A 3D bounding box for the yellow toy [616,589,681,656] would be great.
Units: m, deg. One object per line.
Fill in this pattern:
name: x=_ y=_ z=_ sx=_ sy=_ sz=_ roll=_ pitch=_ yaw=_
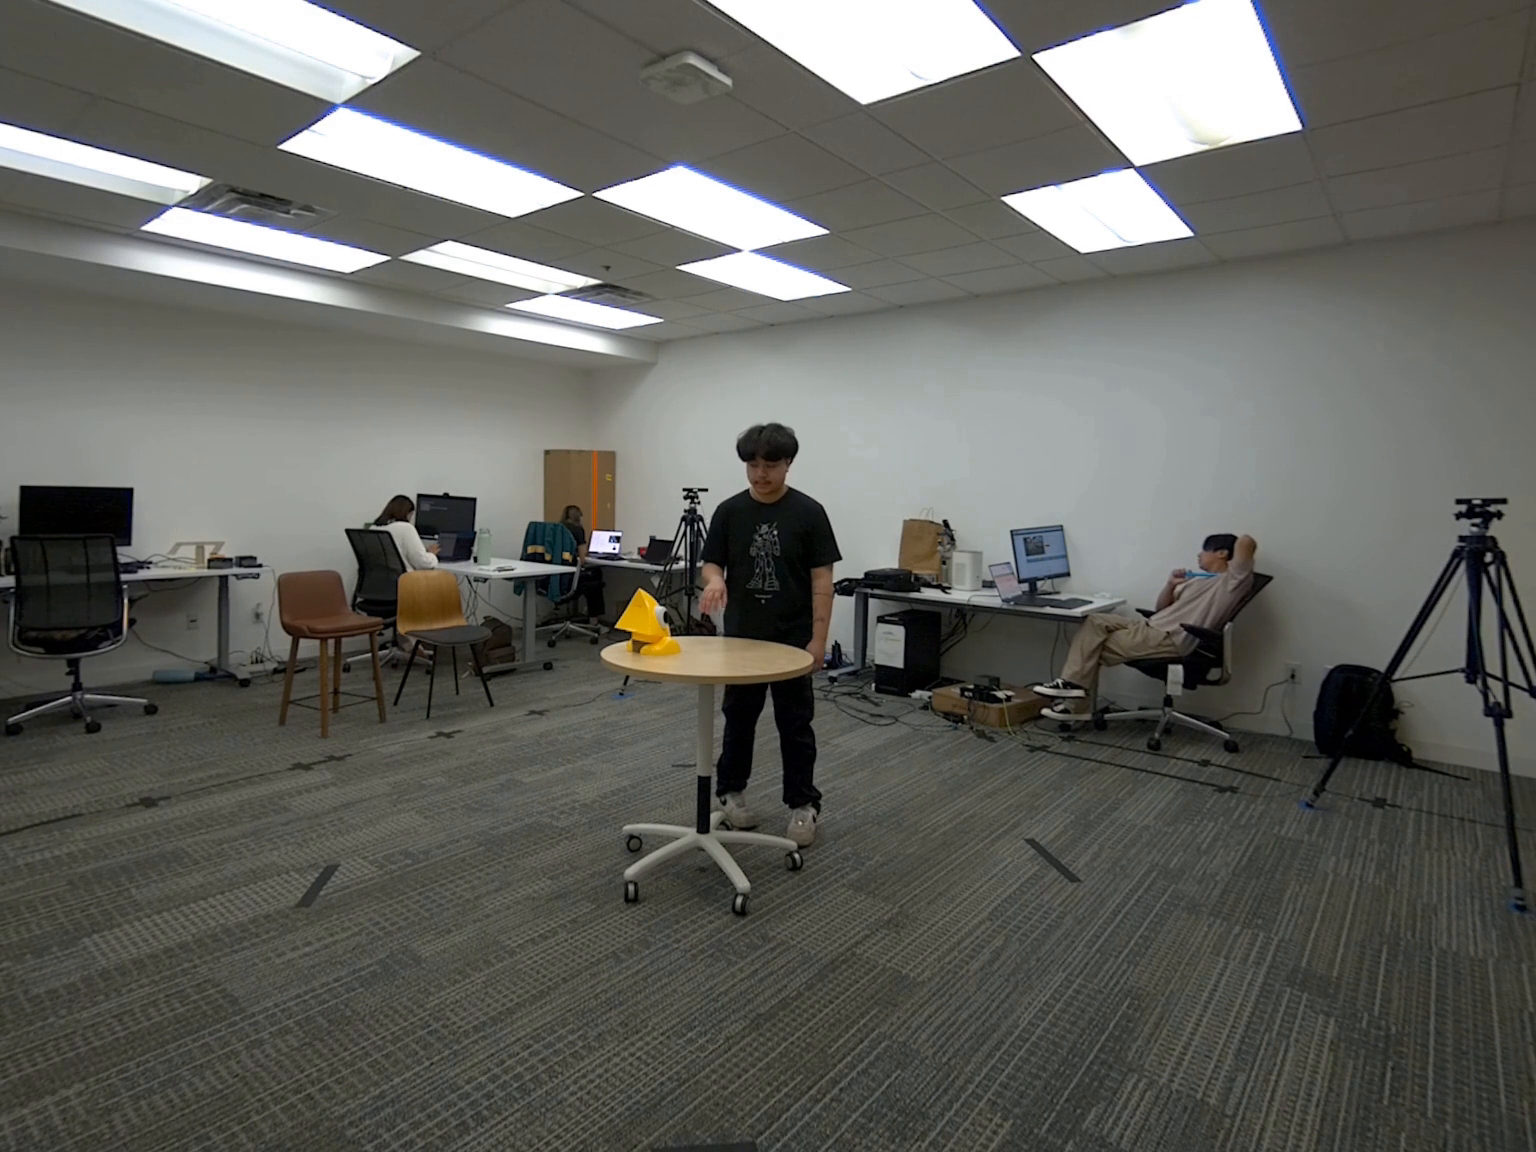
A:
yellow toy: x=-0.437 y=0.156 z=3.110 sx=0.187 sy=0.230 sz=0.212 roll=-2 pitch=5 yaw=-44
